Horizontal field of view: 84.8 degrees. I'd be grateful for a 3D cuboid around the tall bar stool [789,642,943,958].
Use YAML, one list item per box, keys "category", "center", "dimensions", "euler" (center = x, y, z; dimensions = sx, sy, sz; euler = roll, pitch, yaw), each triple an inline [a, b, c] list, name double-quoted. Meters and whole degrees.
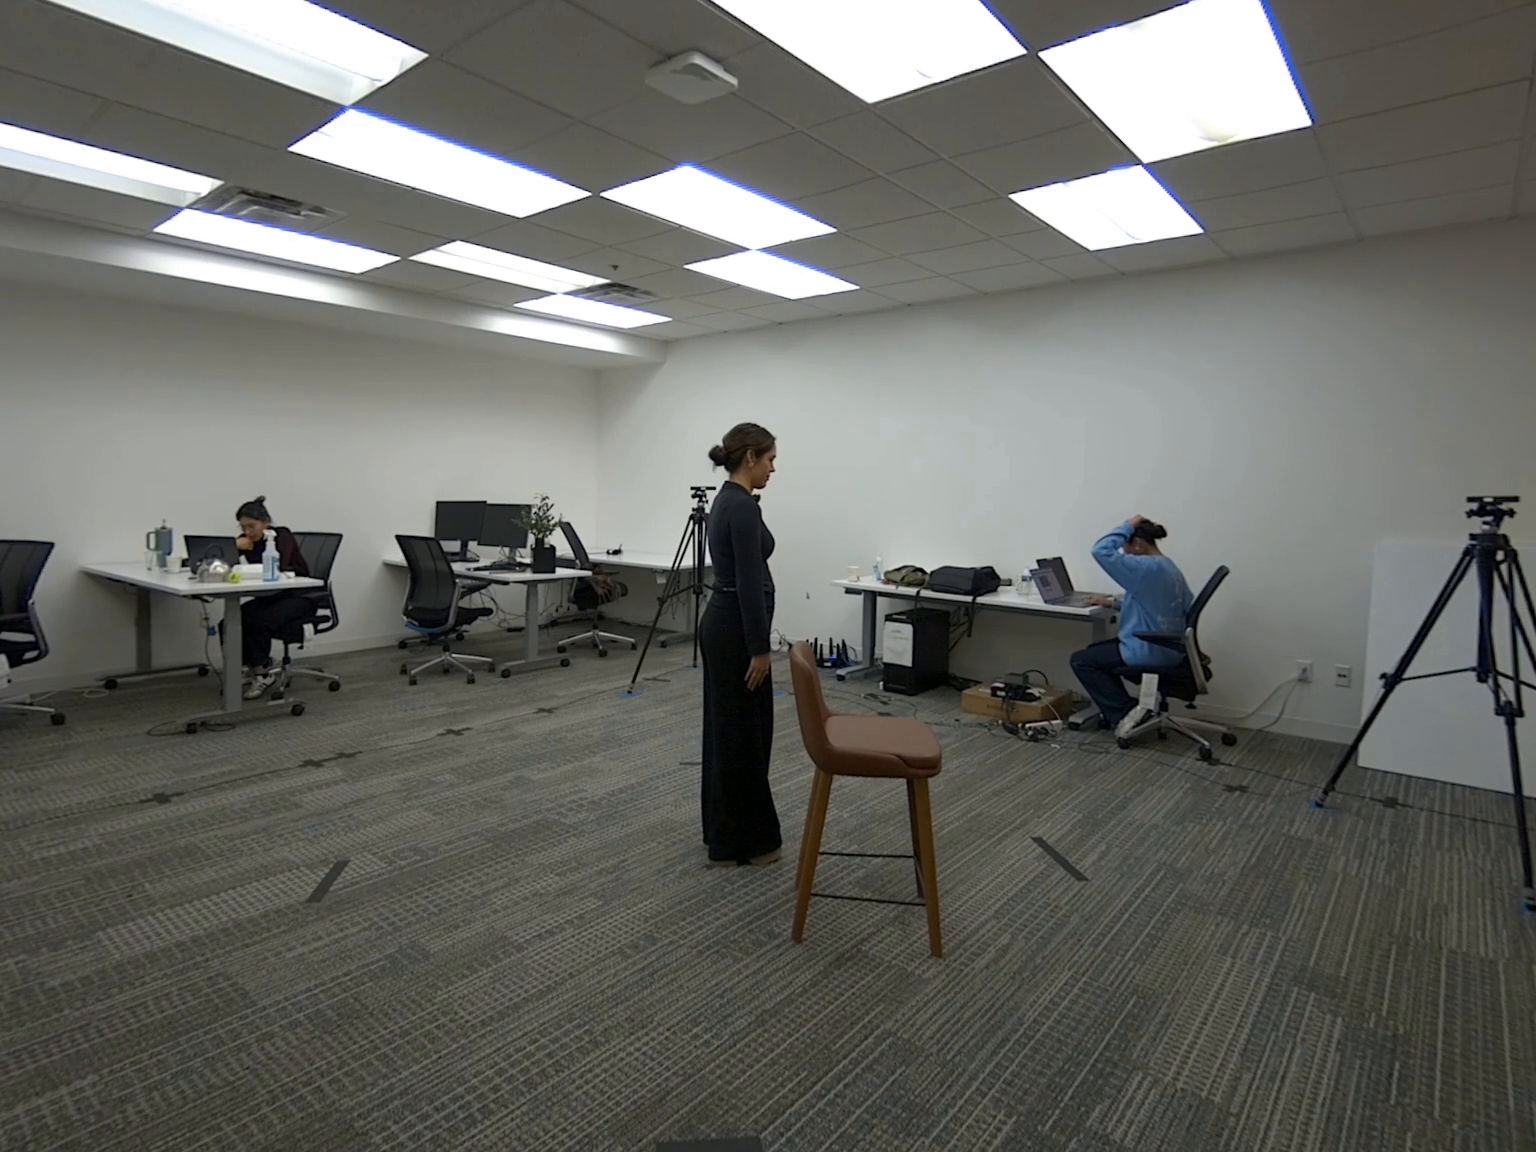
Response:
- category: "tall bar stool"
  center: [0.311, 0.677, 2.748]
  dimensions: [0.471, 0.887, 0.454]
  euler: [0, 3, 6]
